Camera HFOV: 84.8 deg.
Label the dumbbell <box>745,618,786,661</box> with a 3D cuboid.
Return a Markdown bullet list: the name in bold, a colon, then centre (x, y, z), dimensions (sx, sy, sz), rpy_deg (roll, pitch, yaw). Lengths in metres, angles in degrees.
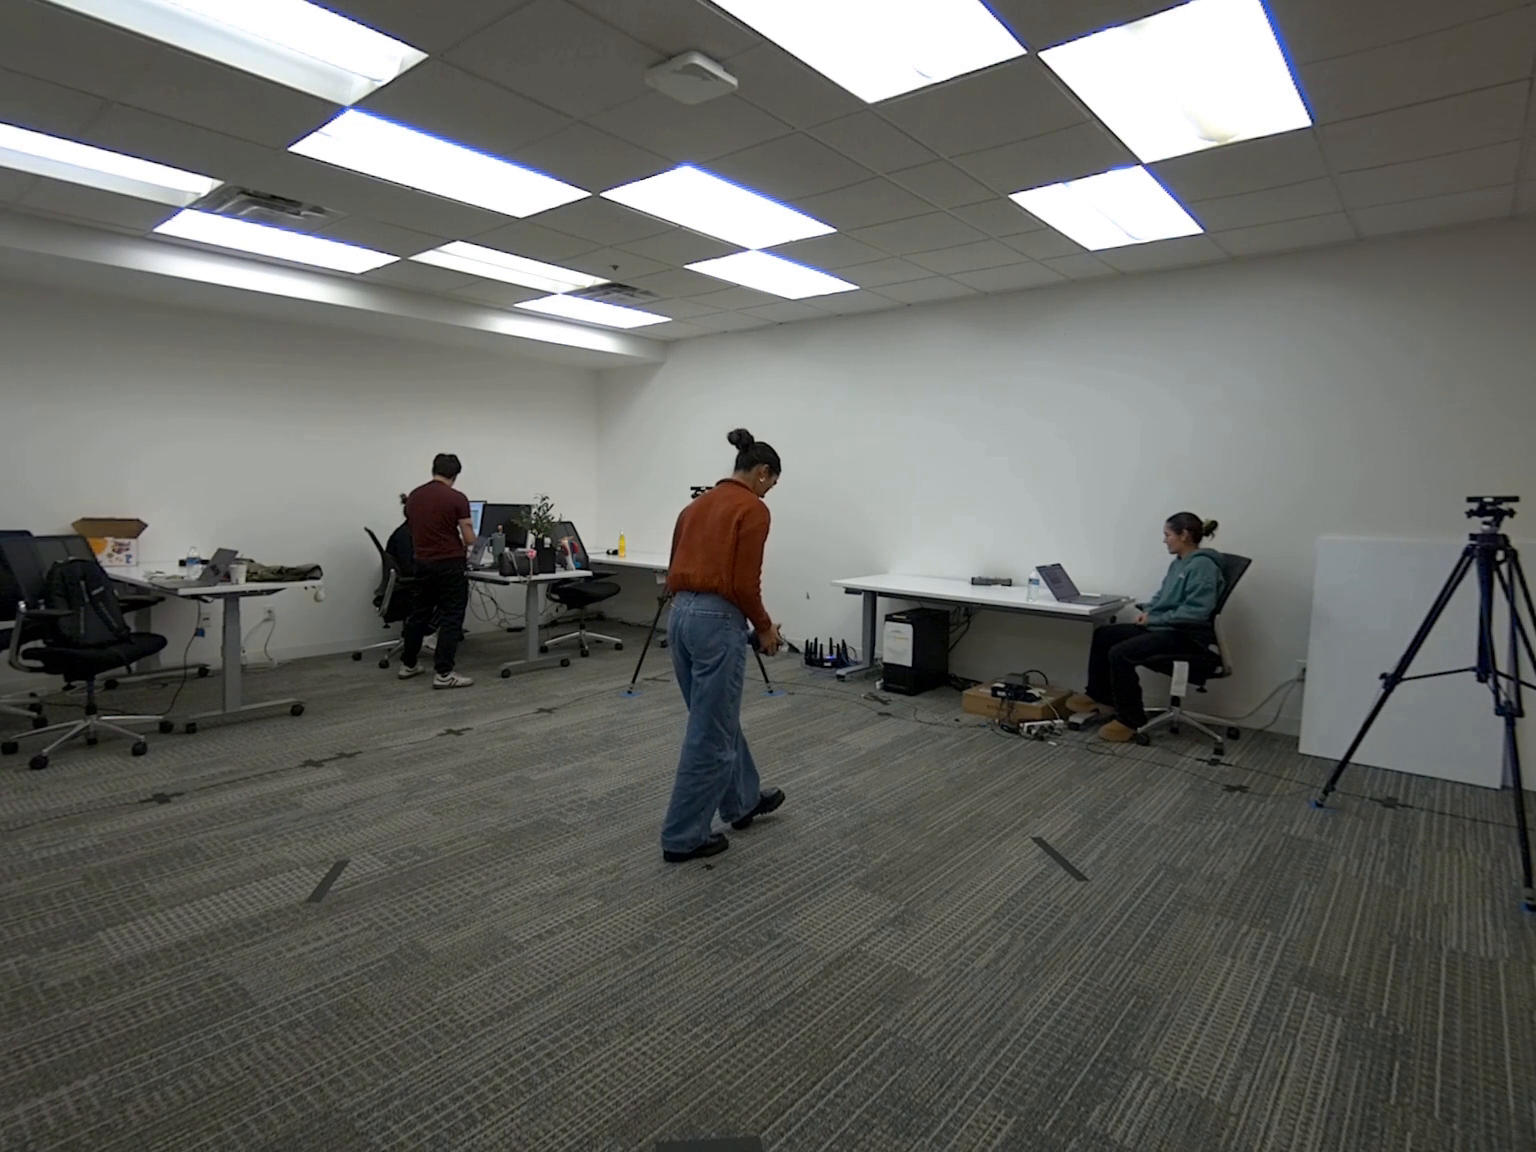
- **dumbbell**: centre (-0.088, 0.241, 3.406), dimensions (0.107, 0.120, 0.303), rpy_deg (-32, 21, -35)
